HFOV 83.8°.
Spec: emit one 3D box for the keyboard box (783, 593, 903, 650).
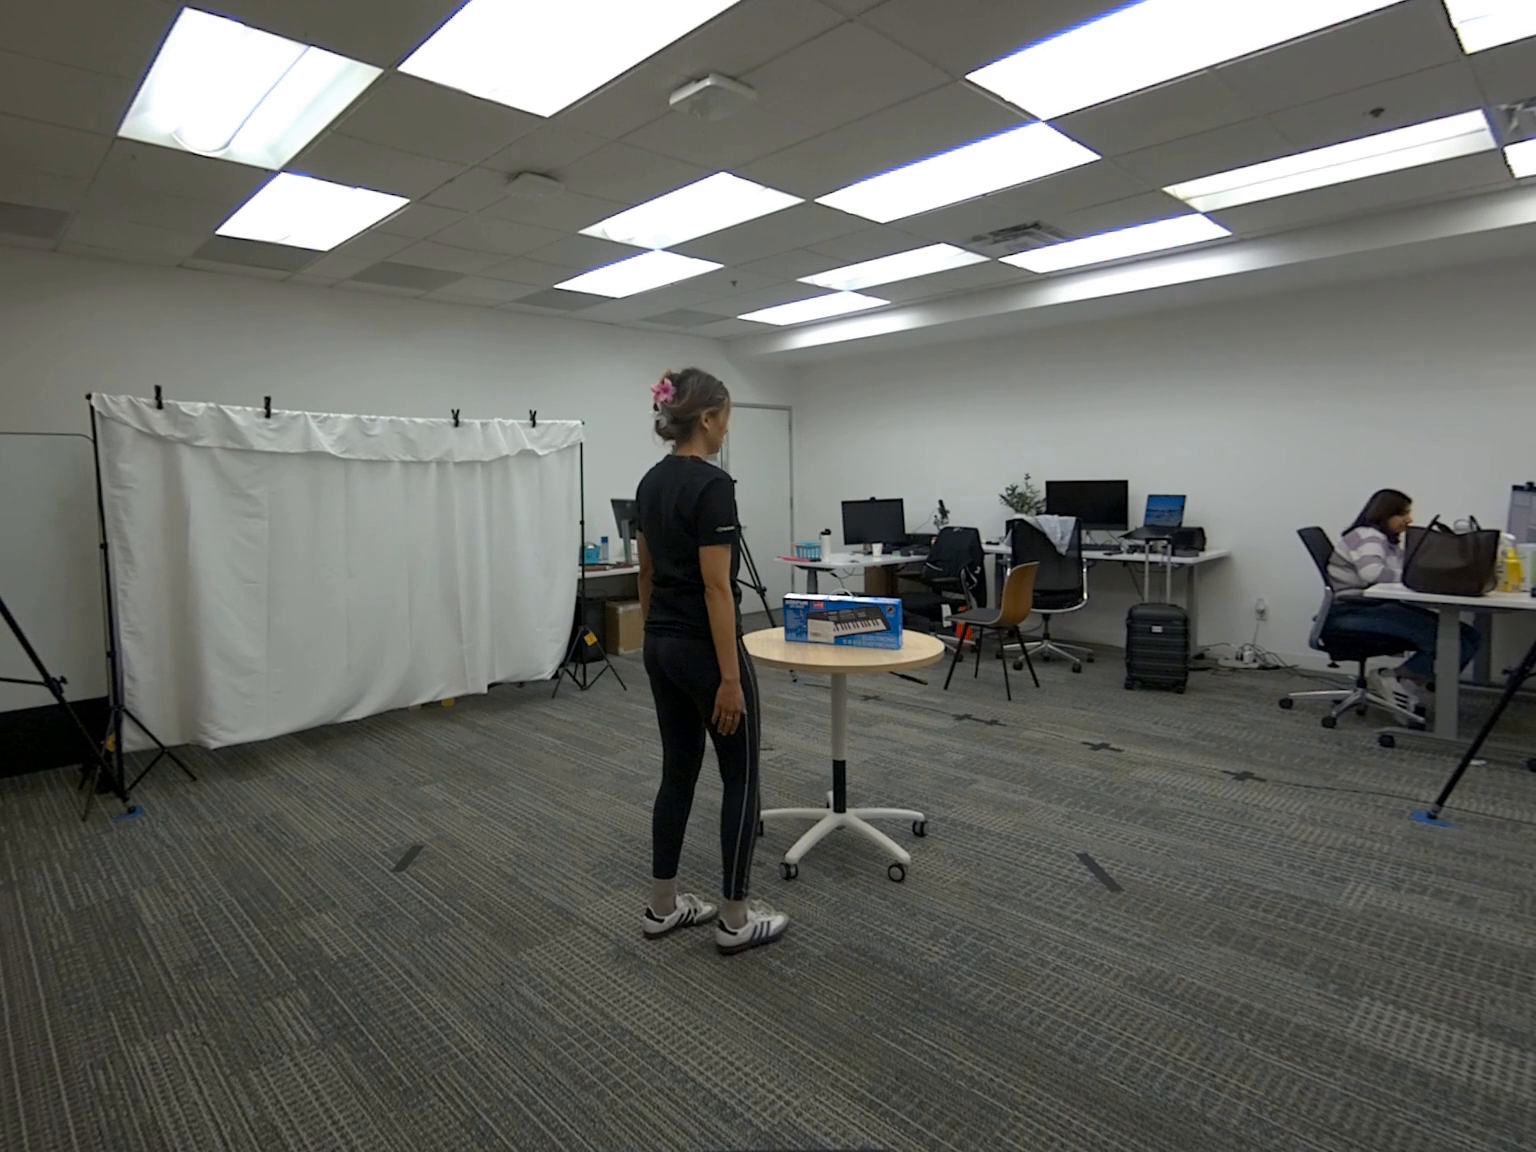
[{"bbox_3d":[0.272,0.165,3.141,0.447,0.174,0.058,2,11,24],"label":"keyboard box"}]
